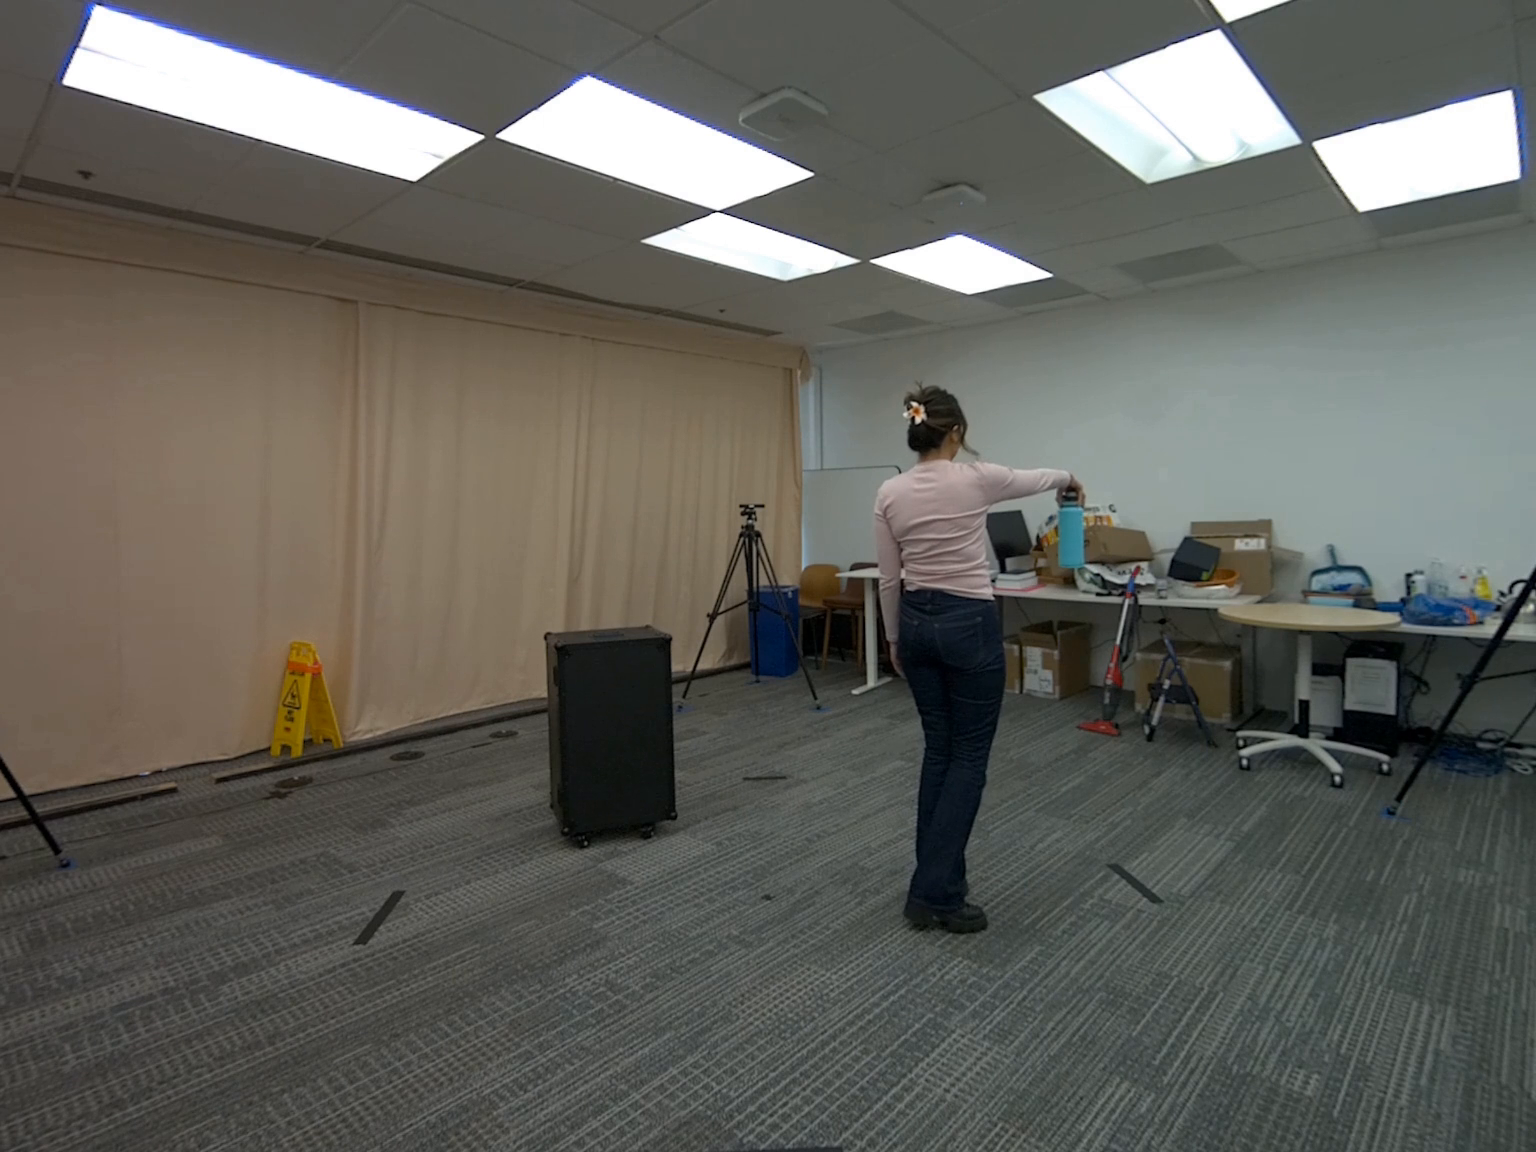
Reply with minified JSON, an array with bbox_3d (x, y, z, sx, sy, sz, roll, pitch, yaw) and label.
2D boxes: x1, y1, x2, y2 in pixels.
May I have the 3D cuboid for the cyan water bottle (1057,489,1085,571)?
[{"bbox_3d":[1.155,-0.176,3.175,0.092,0.282,0.093,-5,5,-1],"label":"cyan water bottle"}]
